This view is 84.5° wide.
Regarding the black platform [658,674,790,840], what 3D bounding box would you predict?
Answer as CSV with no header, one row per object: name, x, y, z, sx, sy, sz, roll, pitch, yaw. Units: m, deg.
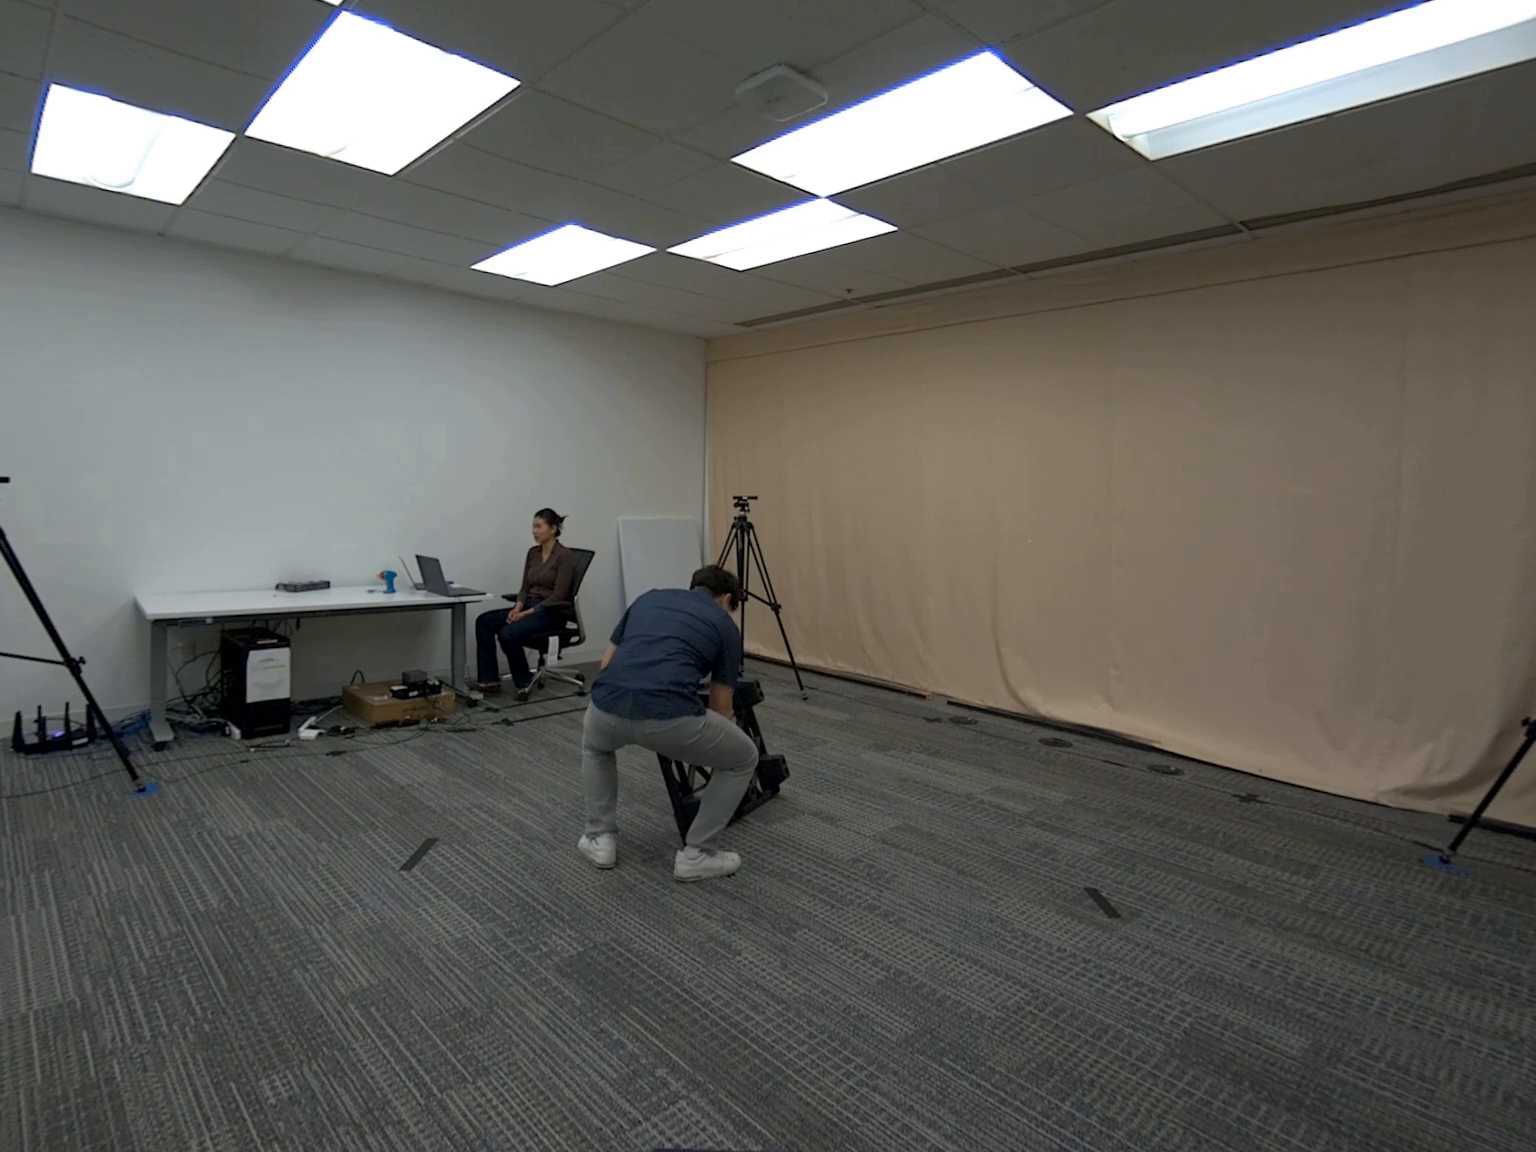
black platform,-0.197,0.751,3.683,0.145,0.609,0.791,-23,-7,26
